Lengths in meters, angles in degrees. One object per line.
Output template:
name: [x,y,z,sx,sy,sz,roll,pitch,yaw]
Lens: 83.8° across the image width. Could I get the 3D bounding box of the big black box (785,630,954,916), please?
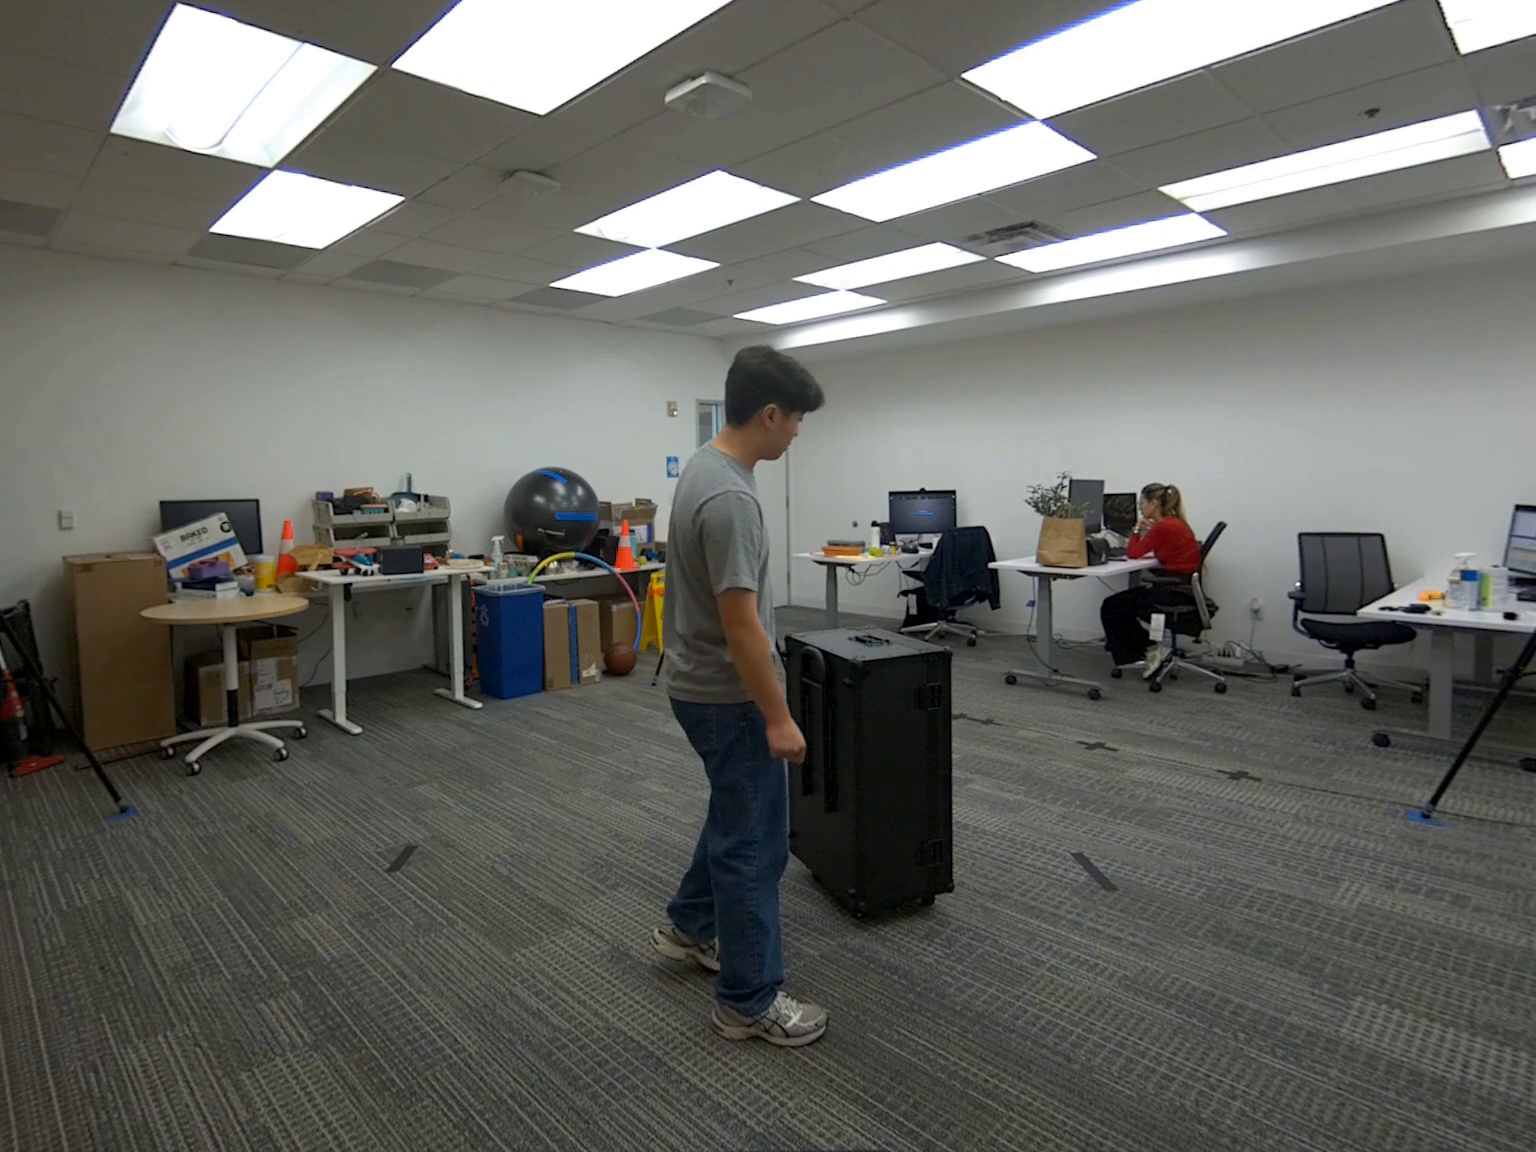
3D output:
big black box: [0.325,0.640,2.851,0.389,0.858,0.533,-4,5,-23]
